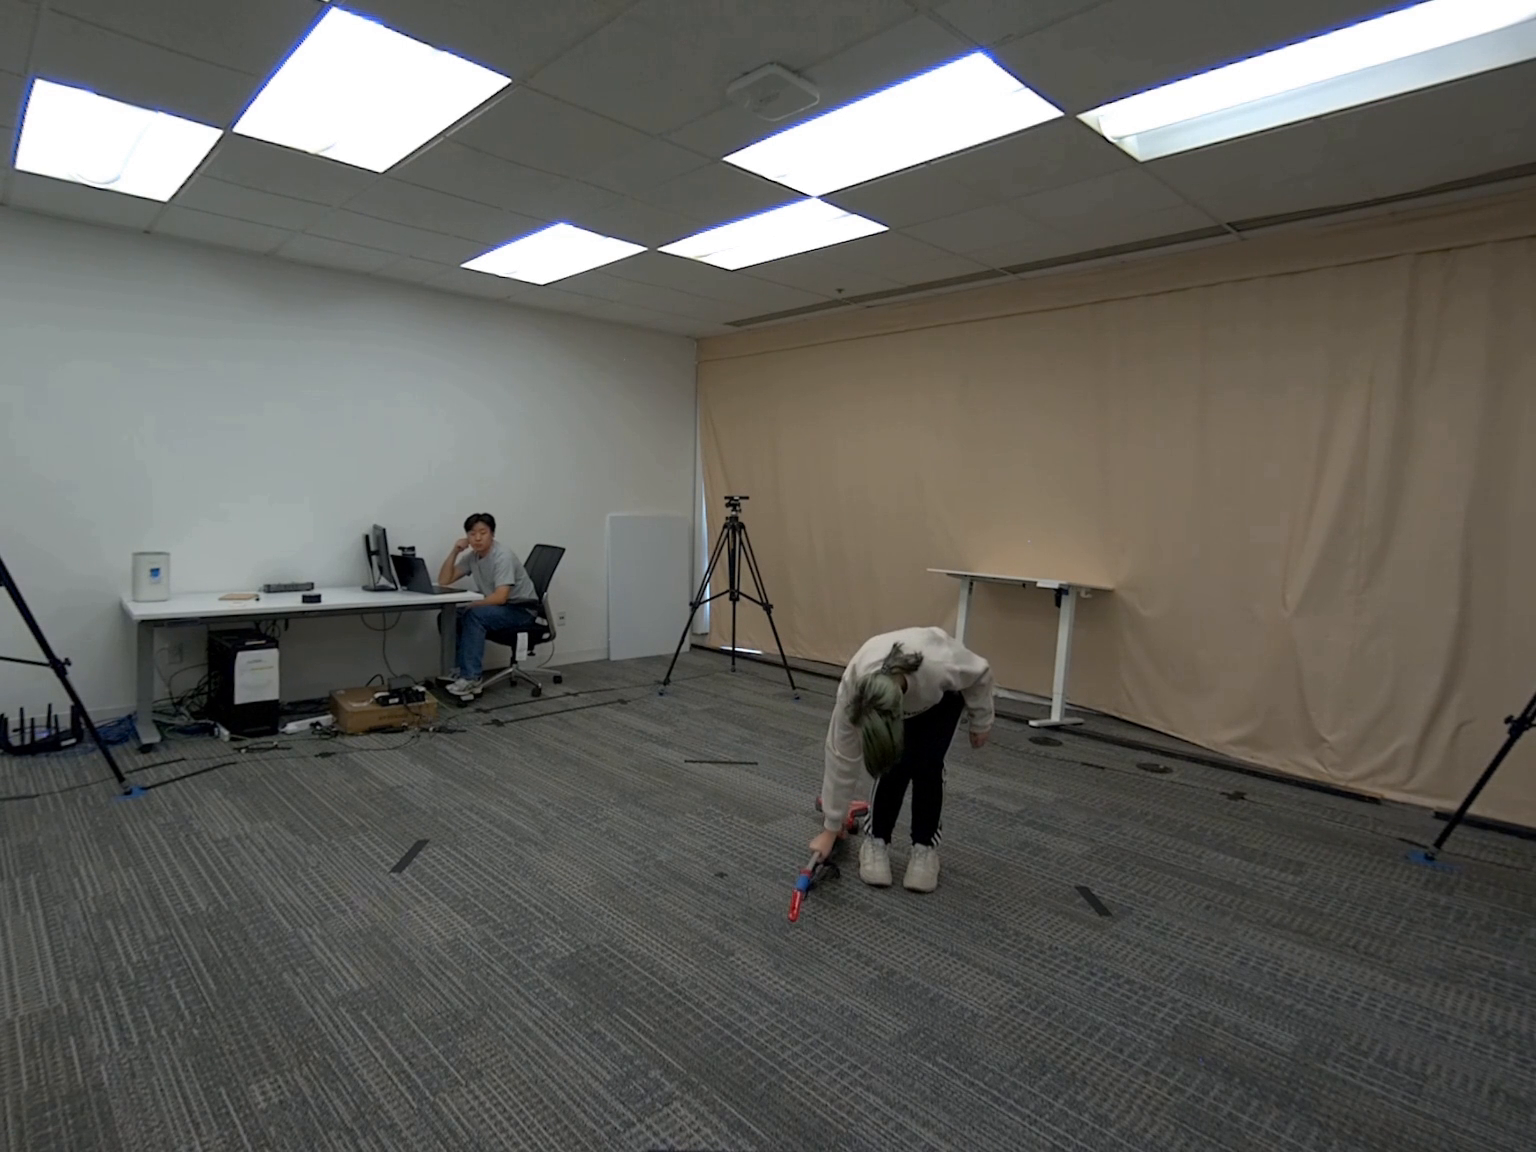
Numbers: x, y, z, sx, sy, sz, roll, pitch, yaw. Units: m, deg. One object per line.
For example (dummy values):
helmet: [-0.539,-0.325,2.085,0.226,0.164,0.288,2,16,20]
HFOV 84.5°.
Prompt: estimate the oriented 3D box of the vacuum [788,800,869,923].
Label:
vacuum: [0.191,1.028,3.077,0.255,0.144,1.039,2,3,13]
